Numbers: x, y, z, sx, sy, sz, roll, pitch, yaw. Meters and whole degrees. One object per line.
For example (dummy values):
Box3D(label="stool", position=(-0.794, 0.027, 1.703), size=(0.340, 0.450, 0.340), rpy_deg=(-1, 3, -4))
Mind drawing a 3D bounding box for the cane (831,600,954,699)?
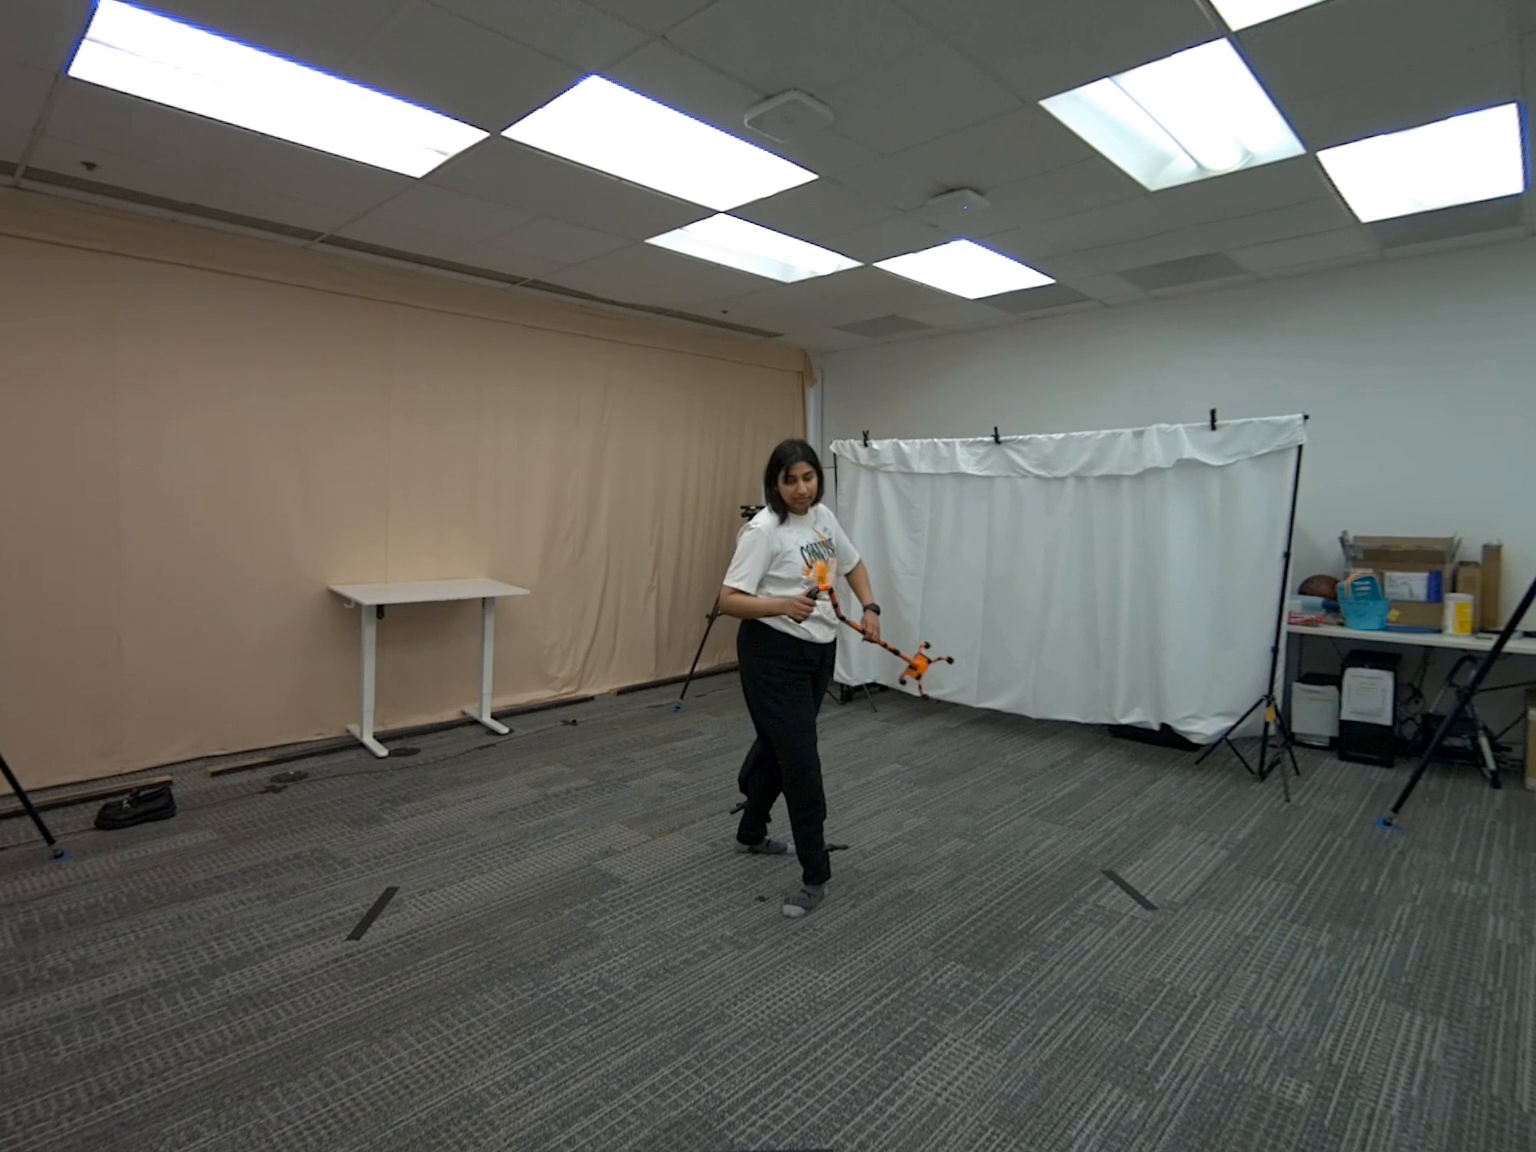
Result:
Box3D(label="cane", position=(0.399, 0.246, 3.064), size=(0.157, 0.206, 0.875), rpy_deg=(34, 1, 40))
